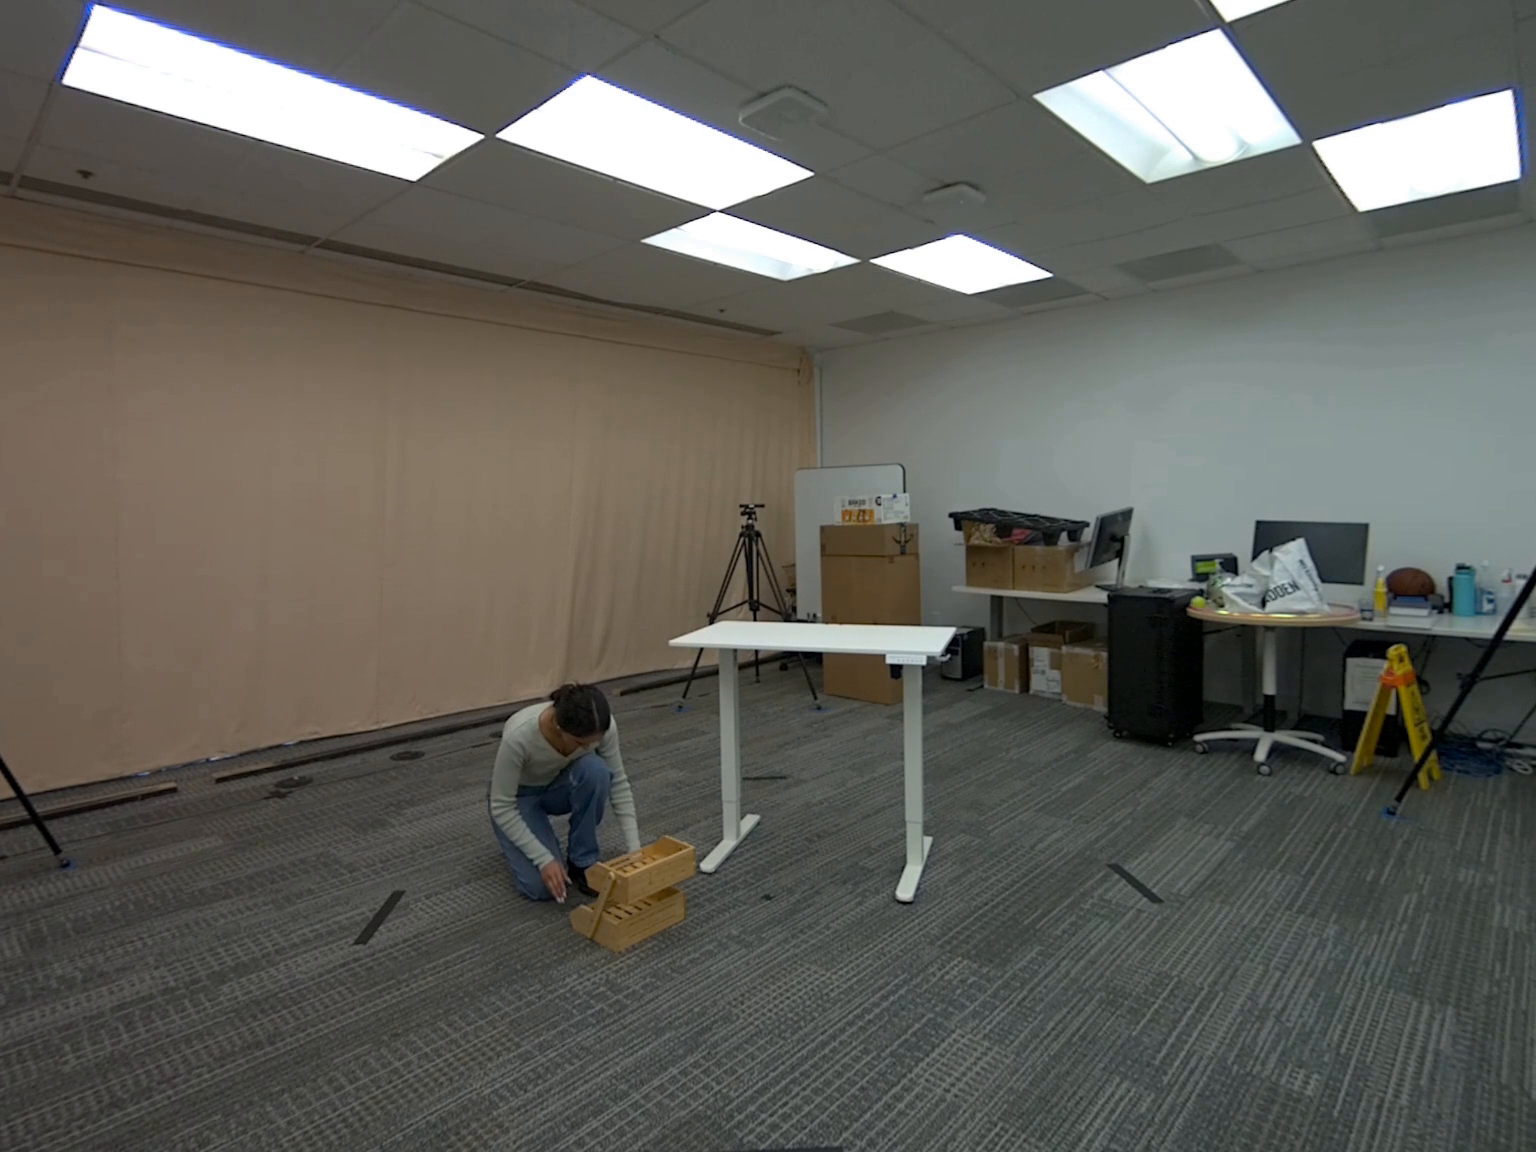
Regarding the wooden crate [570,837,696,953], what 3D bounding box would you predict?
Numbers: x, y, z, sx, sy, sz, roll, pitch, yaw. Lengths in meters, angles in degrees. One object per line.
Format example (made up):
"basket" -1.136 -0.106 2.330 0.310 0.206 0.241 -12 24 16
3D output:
"wooden crate" -0.449 1.031 2.796 0.312 0.272 0.314 3 6 42
